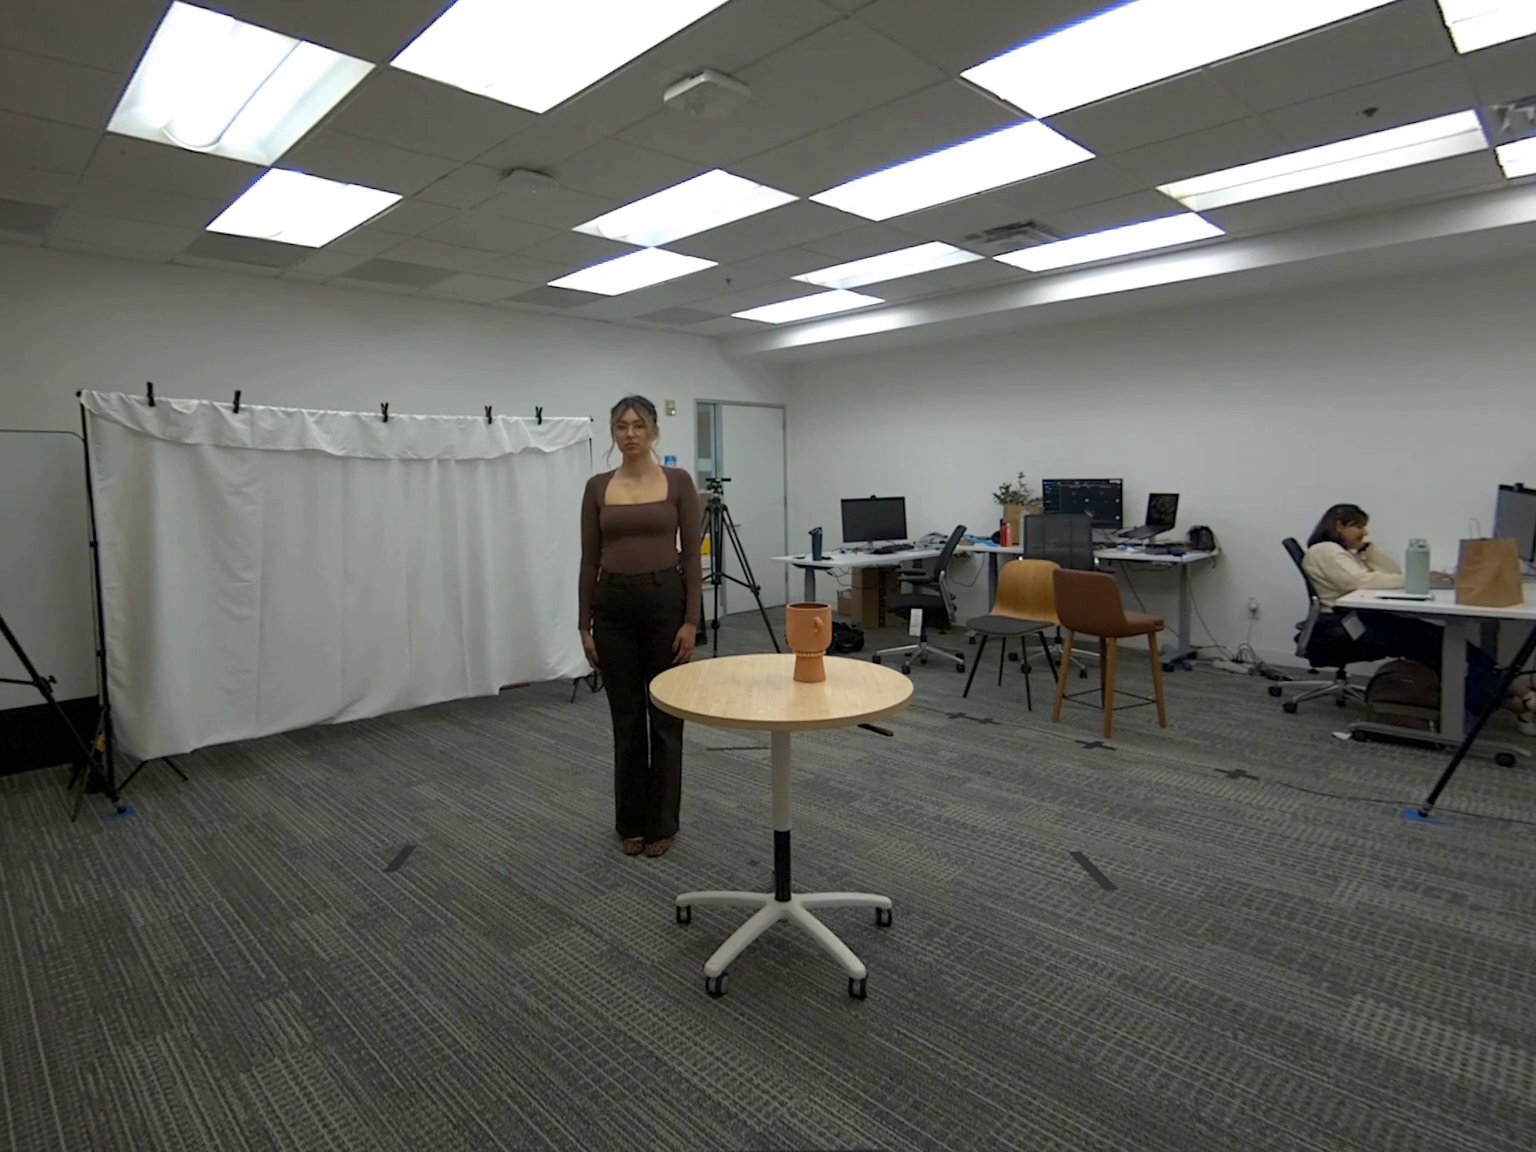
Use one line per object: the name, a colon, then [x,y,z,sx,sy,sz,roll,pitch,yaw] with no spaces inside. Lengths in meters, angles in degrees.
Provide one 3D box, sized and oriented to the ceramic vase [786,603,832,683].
ceramic vase: [0.129,0.200,2.532,0.137,0.219,0.156,2,6,22]
